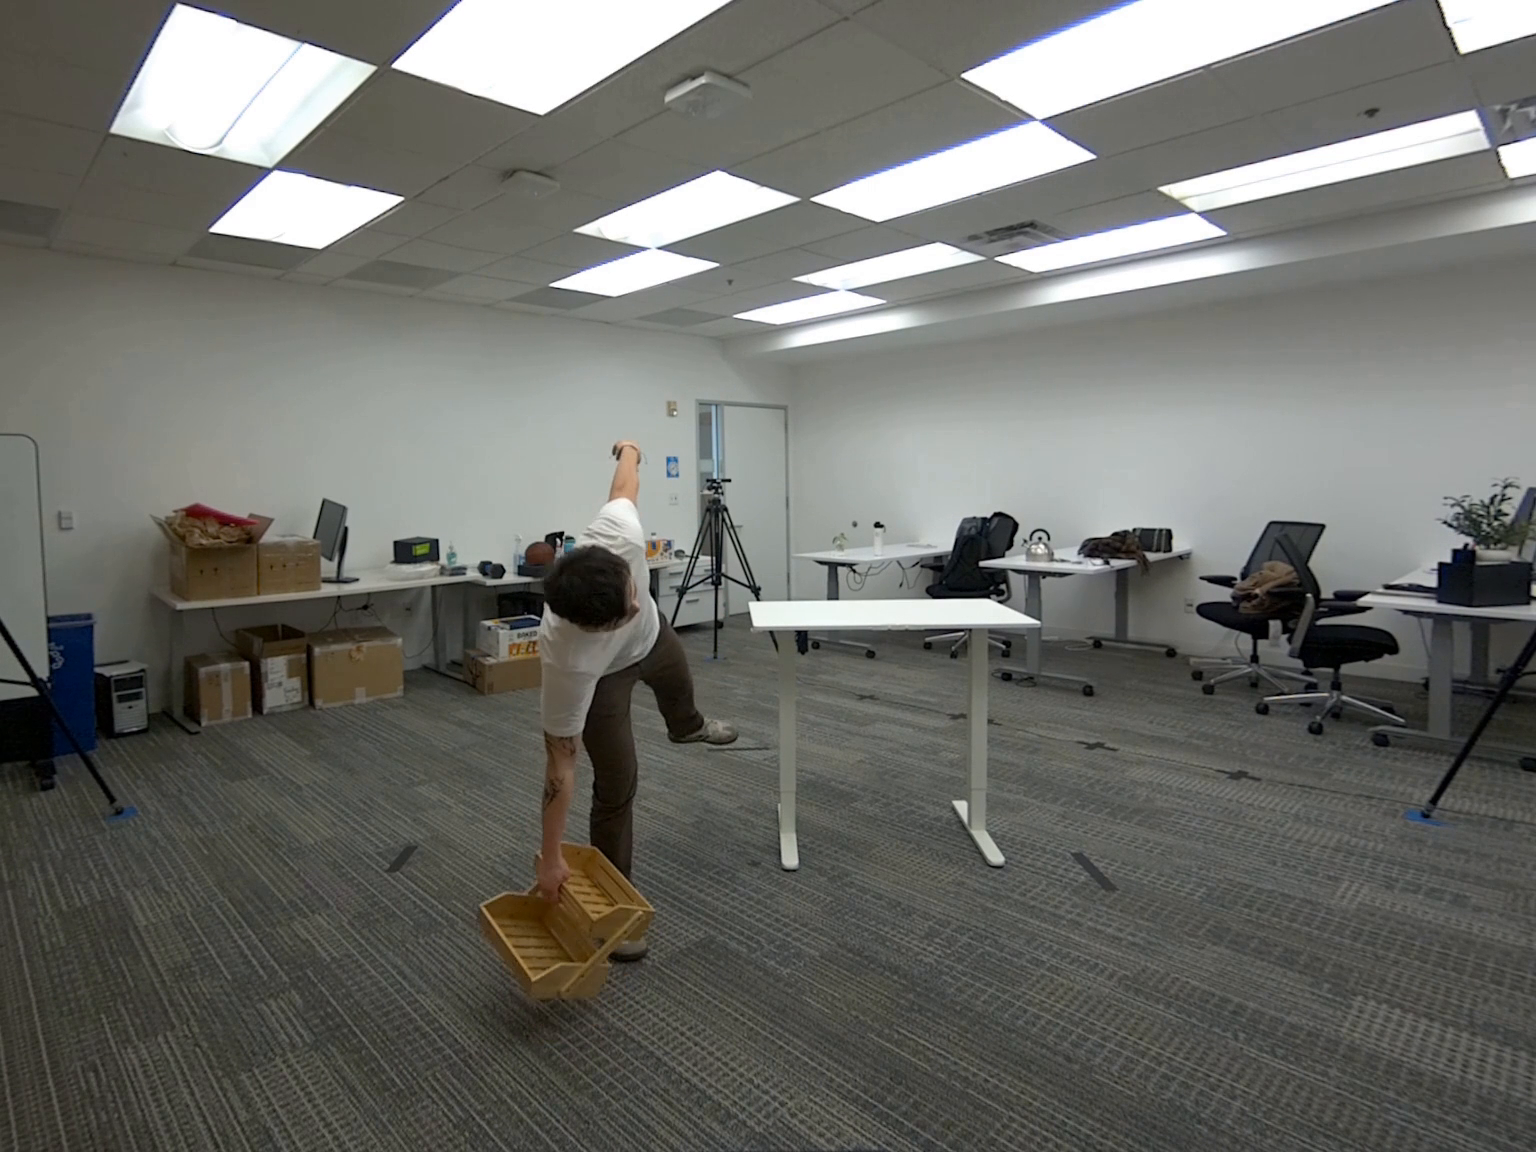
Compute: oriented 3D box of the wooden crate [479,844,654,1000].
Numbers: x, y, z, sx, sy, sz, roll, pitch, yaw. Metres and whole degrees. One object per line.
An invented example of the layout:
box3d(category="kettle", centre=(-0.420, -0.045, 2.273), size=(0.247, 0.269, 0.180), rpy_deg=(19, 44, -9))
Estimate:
box3d(category="wooden crate", centre=(-0.549, 0.909, 2.286), size=(0.337, 0.273, 0.290), rpy_deg=(27, -4, 44))
